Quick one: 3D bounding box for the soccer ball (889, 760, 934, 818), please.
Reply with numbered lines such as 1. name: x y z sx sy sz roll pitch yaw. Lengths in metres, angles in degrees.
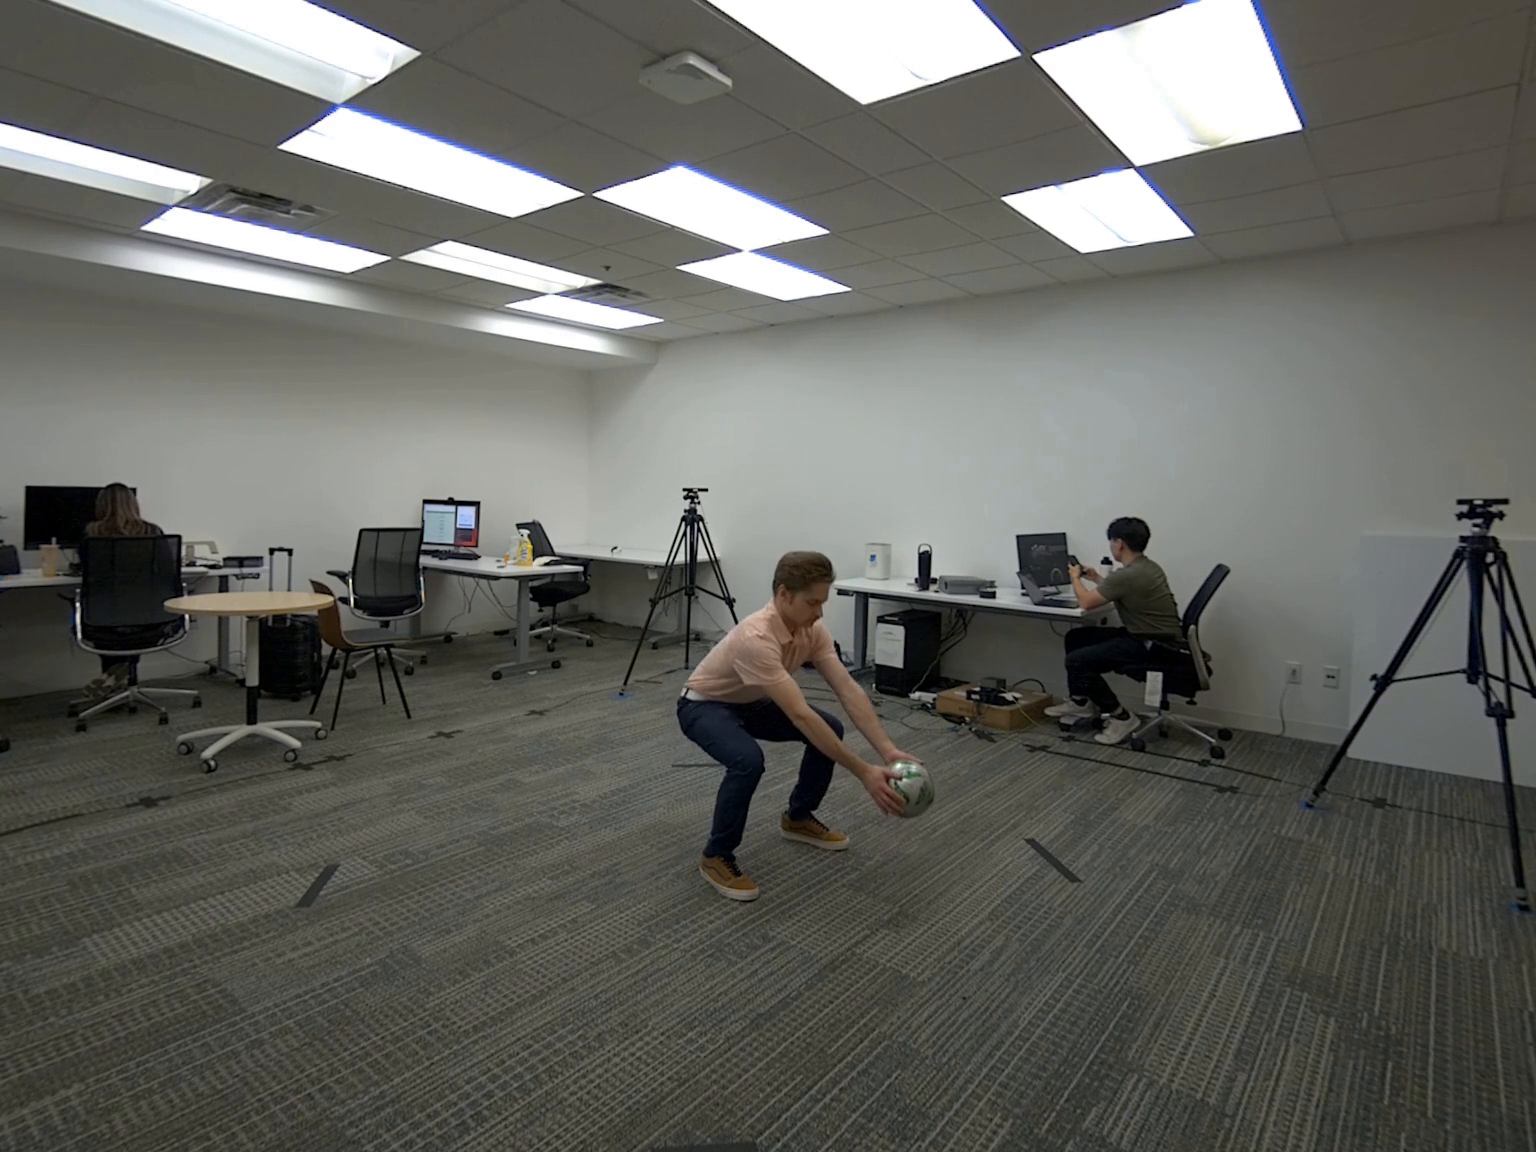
1. soccer ball: 0.447 0.706 2.810 0.187 0.187 0.188 1 4 -2
